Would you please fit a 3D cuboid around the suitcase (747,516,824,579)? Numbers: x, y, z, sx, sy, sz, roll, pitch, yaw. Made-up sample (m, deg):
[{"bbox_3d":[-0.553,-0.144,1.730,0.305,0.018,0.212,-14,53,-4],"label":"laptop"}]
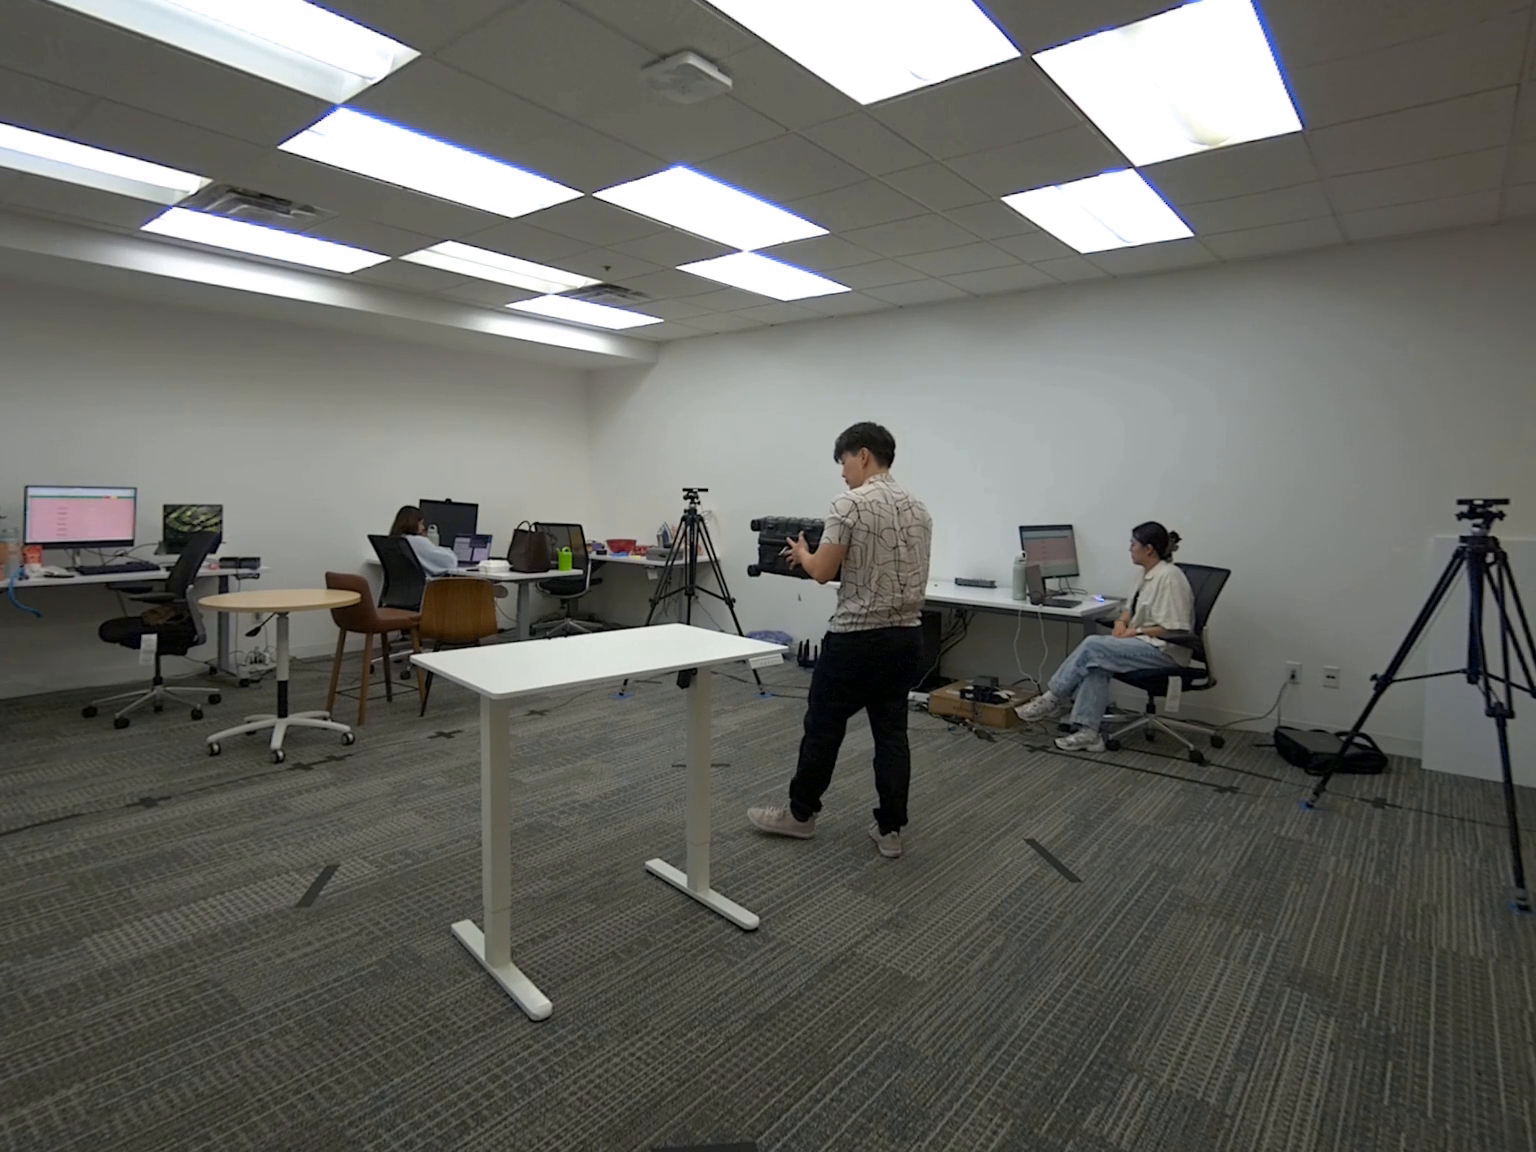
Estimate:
[{"bbox_3d":[0.201,-0.125,3.654,0.364,0.248,0.567,1,3,-37],"label":"suitcase"}]
